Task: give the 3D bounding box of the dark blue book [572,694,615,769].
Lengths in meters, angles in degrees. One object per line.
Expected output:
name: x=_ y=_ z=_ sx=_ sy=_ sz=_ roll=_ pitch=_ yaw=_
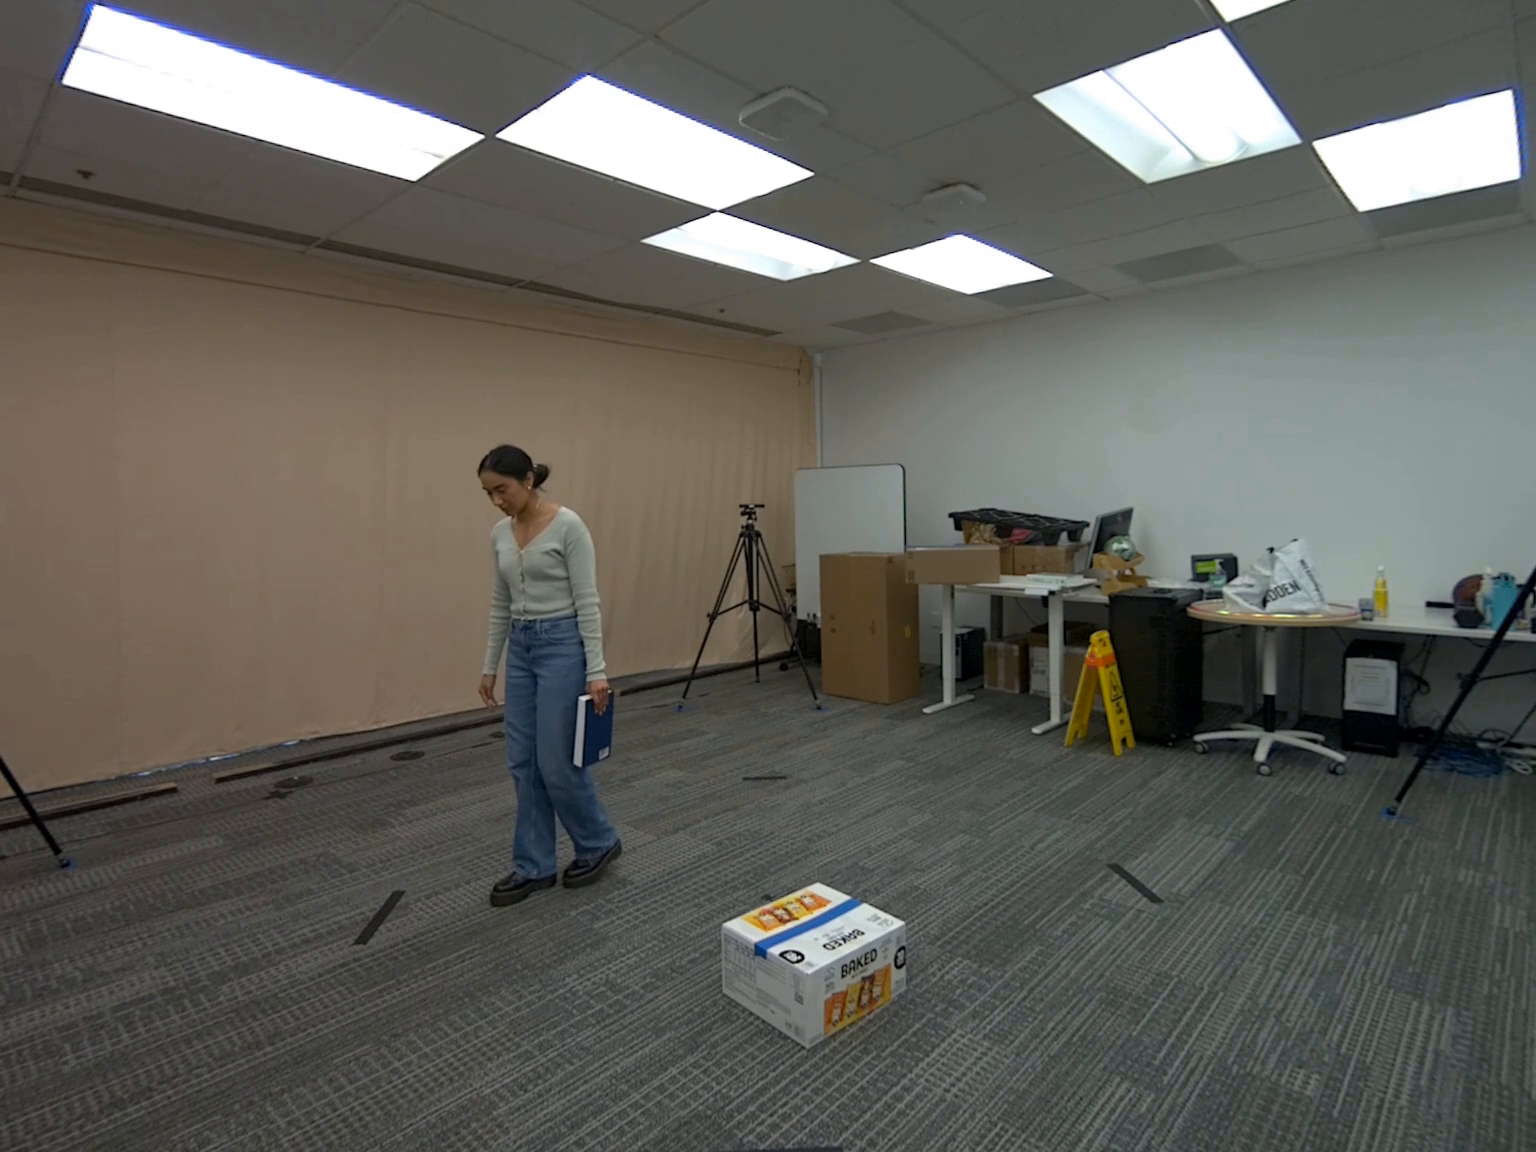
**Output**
dark blue book: x=-0.611 y=0.537 z=2.954 sx=0.046 sy=0.244 sz=0.159 roll=9 pitch=6 yaw=30
